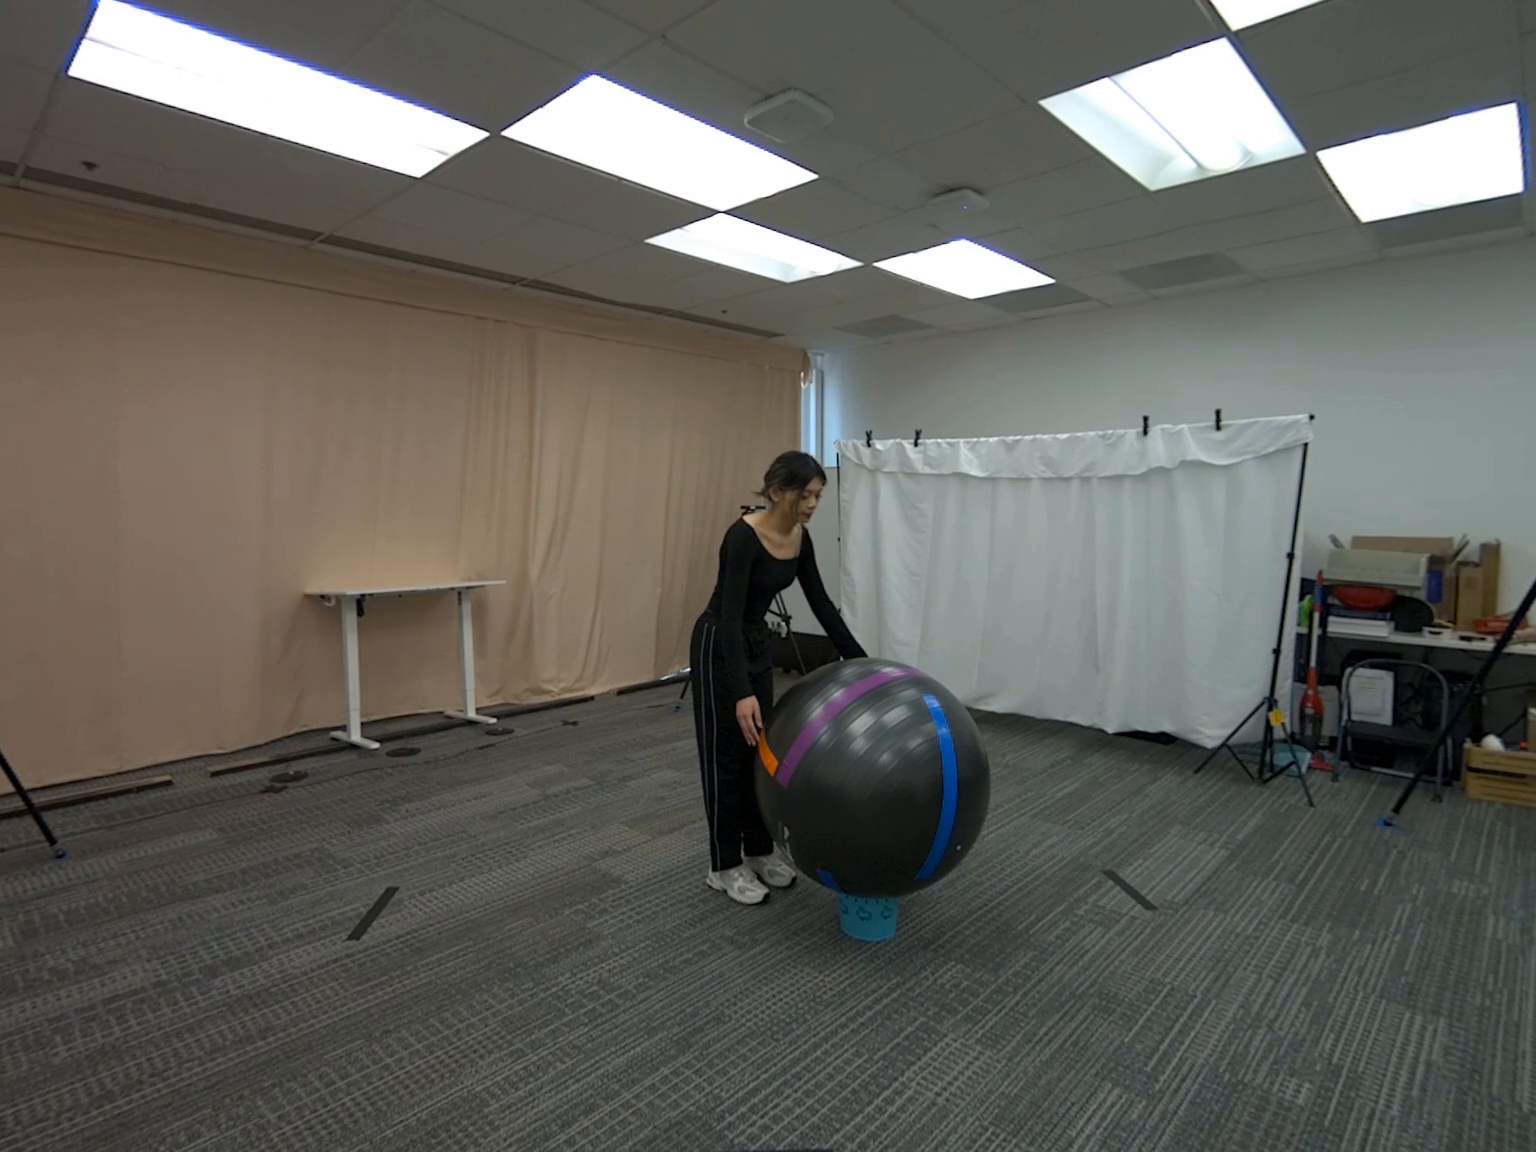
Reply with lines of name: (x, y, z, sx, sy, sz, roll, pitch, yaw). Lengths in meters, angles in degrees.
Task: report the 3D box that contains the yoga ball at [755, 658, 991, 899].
yoga ball: (0.341, 0.649, 2.755, 0.757, 0.756, 0.760, 0, 4, -2)
